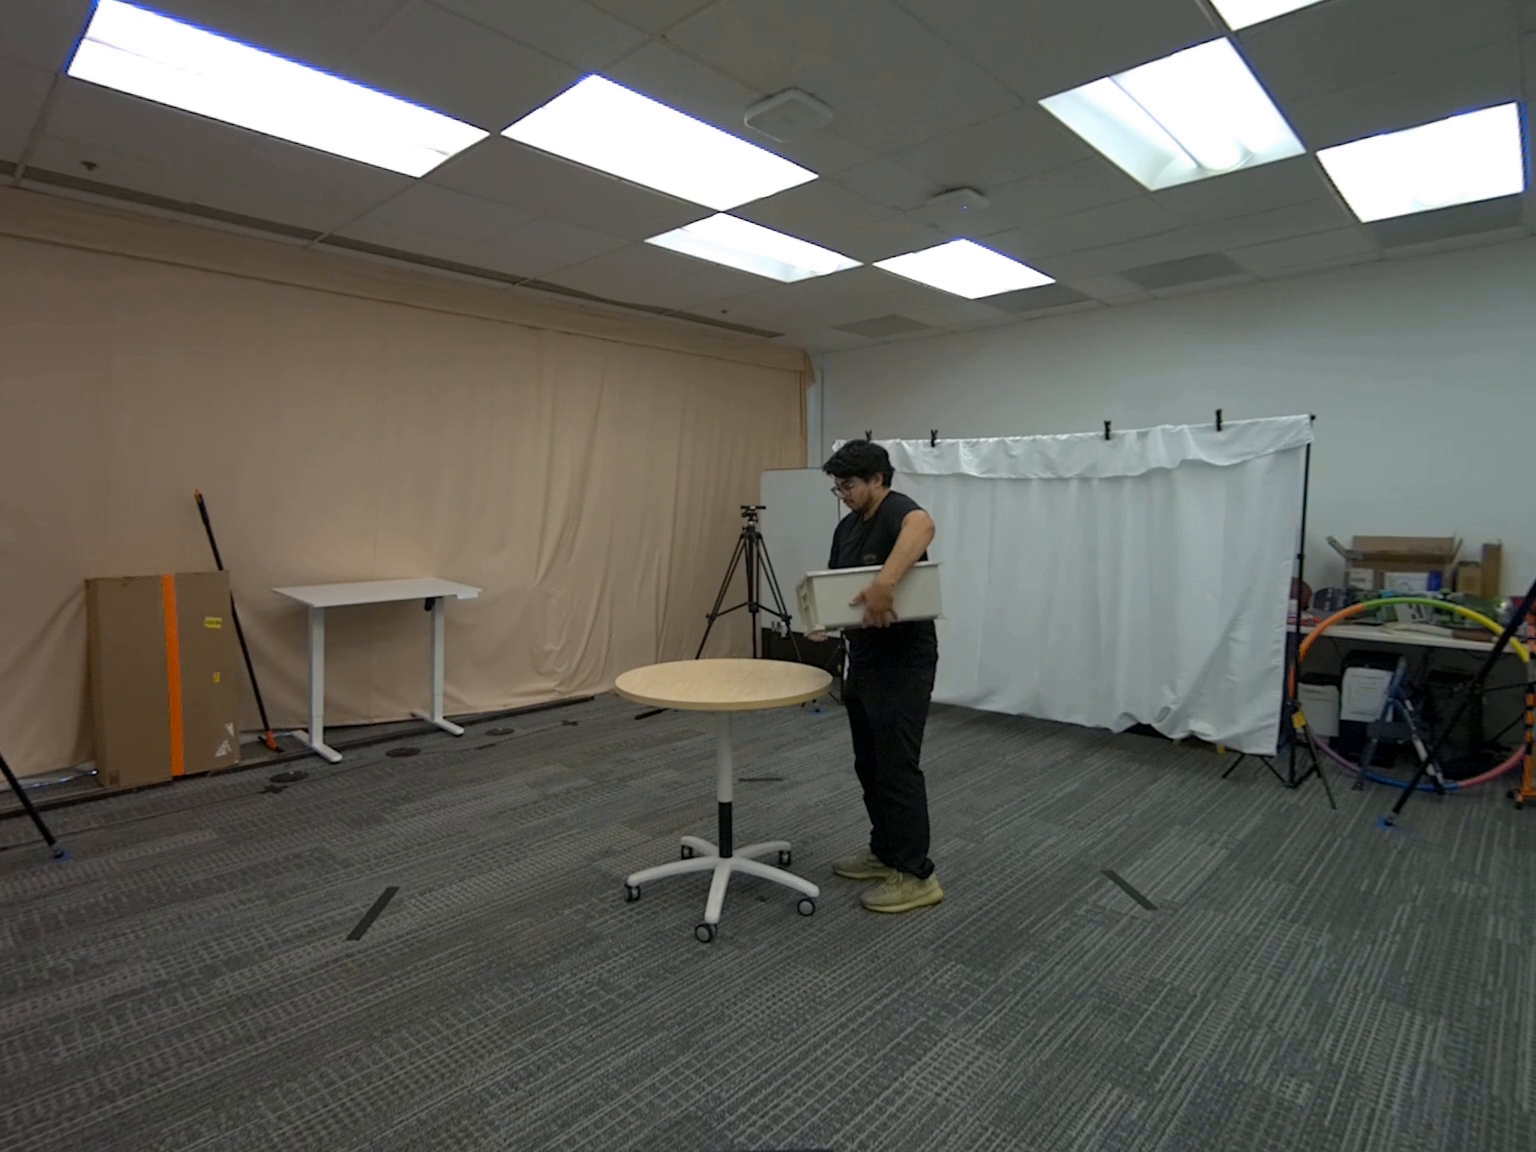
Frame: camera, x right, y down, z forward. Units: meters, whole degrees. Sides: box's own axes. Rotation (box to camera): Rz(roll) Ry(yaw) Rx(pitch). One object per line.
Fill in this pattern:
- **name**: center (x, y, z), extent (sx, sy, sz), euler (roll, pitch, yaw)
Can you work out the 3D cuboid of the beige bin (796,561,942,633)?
- **beige bin**: center (0.333, 0.080, 2.755), extent (0.422, 0.190, 0.376), euler (-5, -5, -2)
